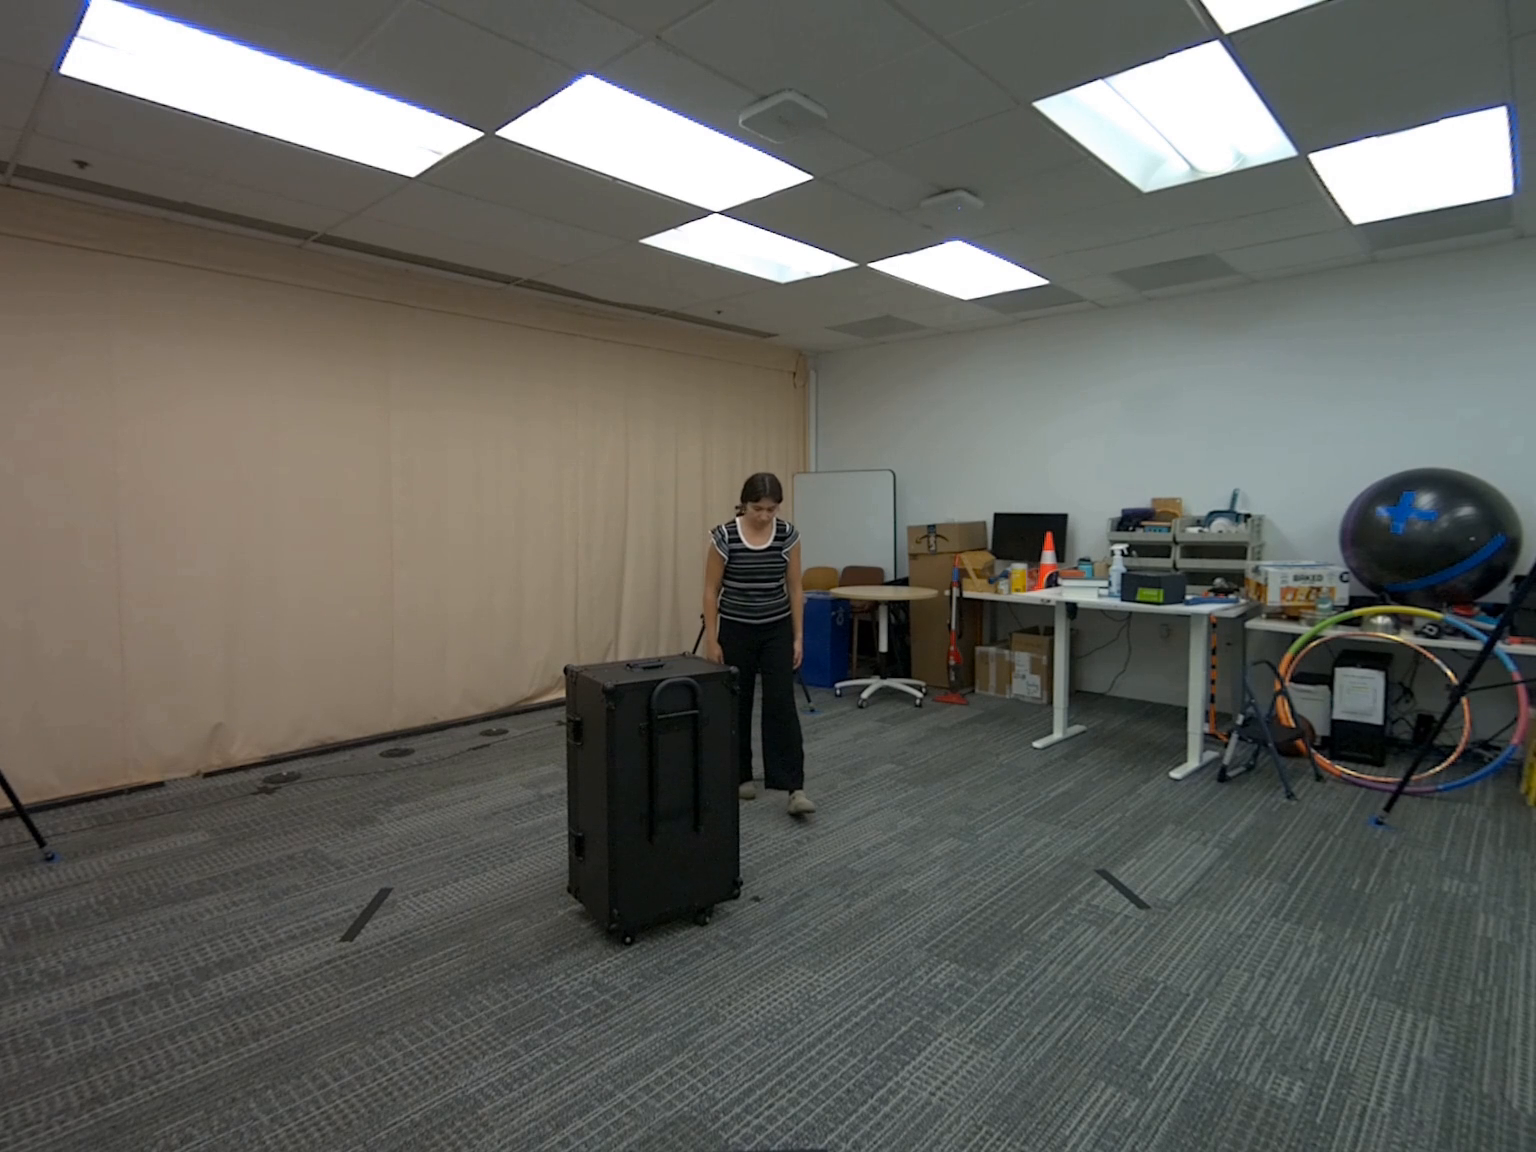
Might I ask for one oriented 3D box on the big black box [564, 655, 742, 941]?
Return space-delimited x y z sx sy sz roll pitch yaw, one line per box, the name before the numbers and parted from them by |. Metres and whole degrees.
big black box | -0.386 0.733 2.841 0.507 0.860 0.408 -2 4 -32
